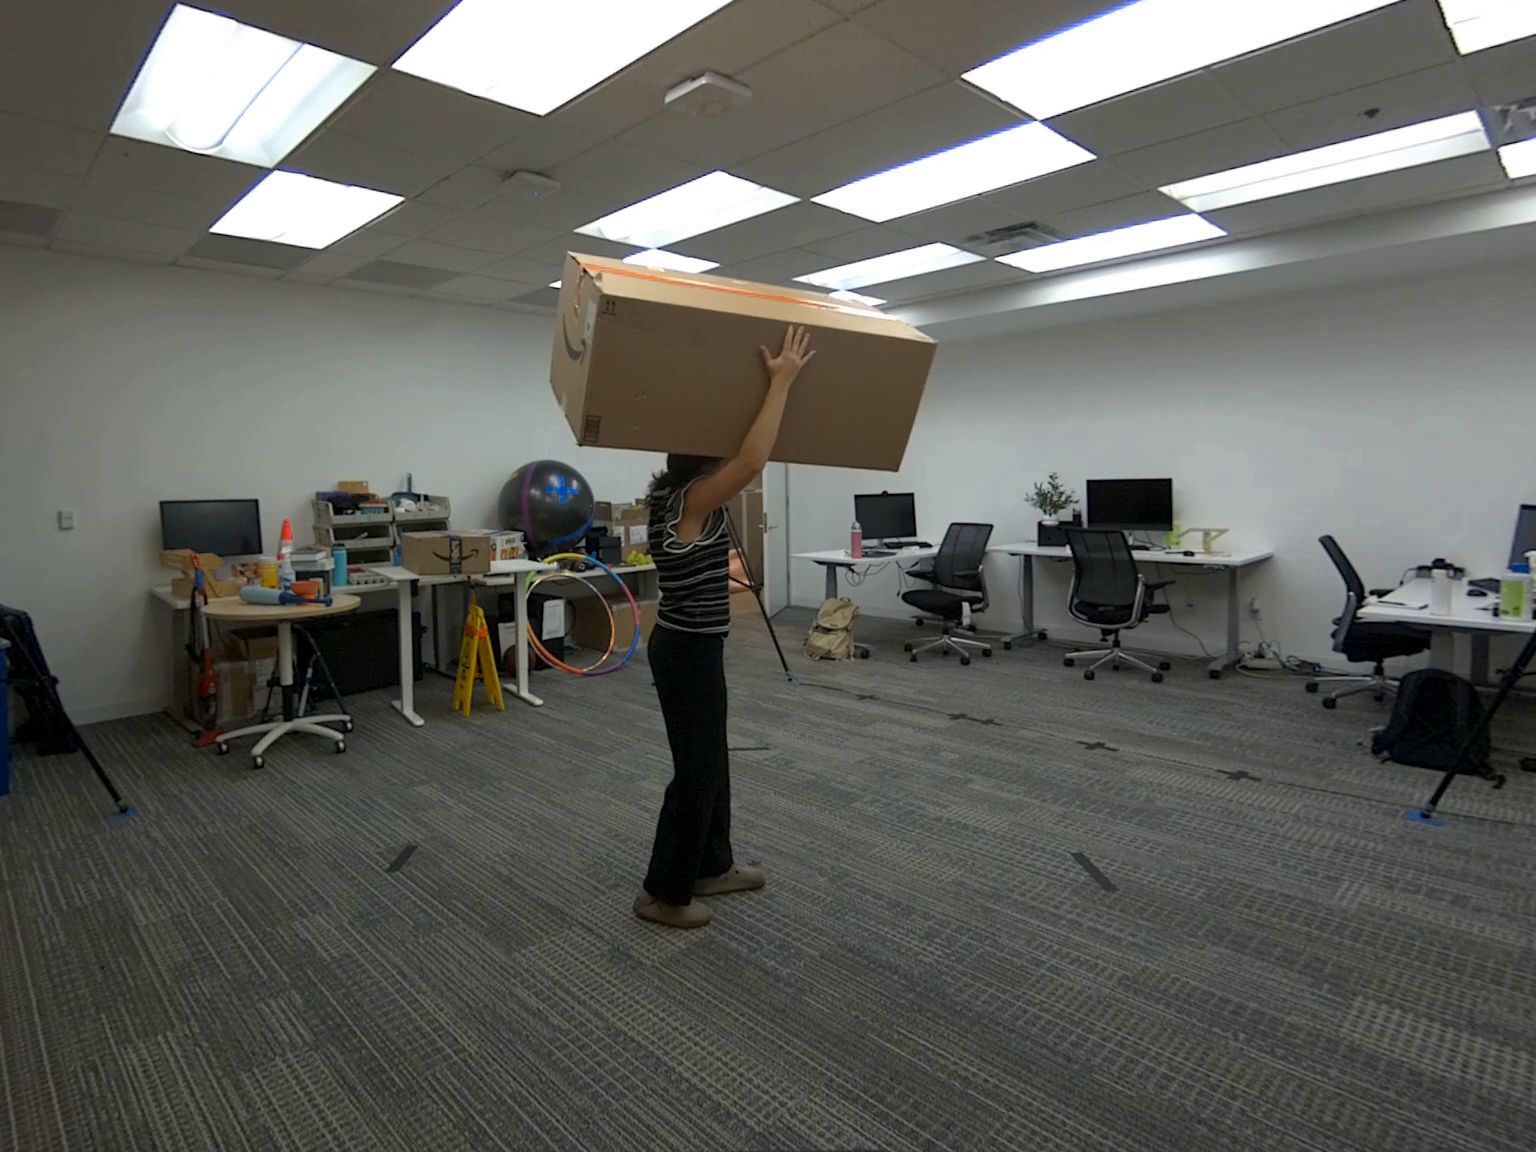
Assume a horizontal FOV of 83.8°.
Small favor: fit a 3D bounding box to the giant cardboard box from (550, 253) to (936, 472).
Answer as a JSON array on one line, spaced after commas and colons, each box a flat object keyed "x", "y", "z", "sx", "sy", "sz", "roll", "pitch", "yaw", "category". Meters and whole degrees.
[{"x": -0.103, "y": -0.655, "z": 2.652, "sx": 1.004, "sy": 0.420, "sz": 0.599, "roll": 1, "pitch": 28, "yaw": -23, "category": "giant cardboard box"}]
